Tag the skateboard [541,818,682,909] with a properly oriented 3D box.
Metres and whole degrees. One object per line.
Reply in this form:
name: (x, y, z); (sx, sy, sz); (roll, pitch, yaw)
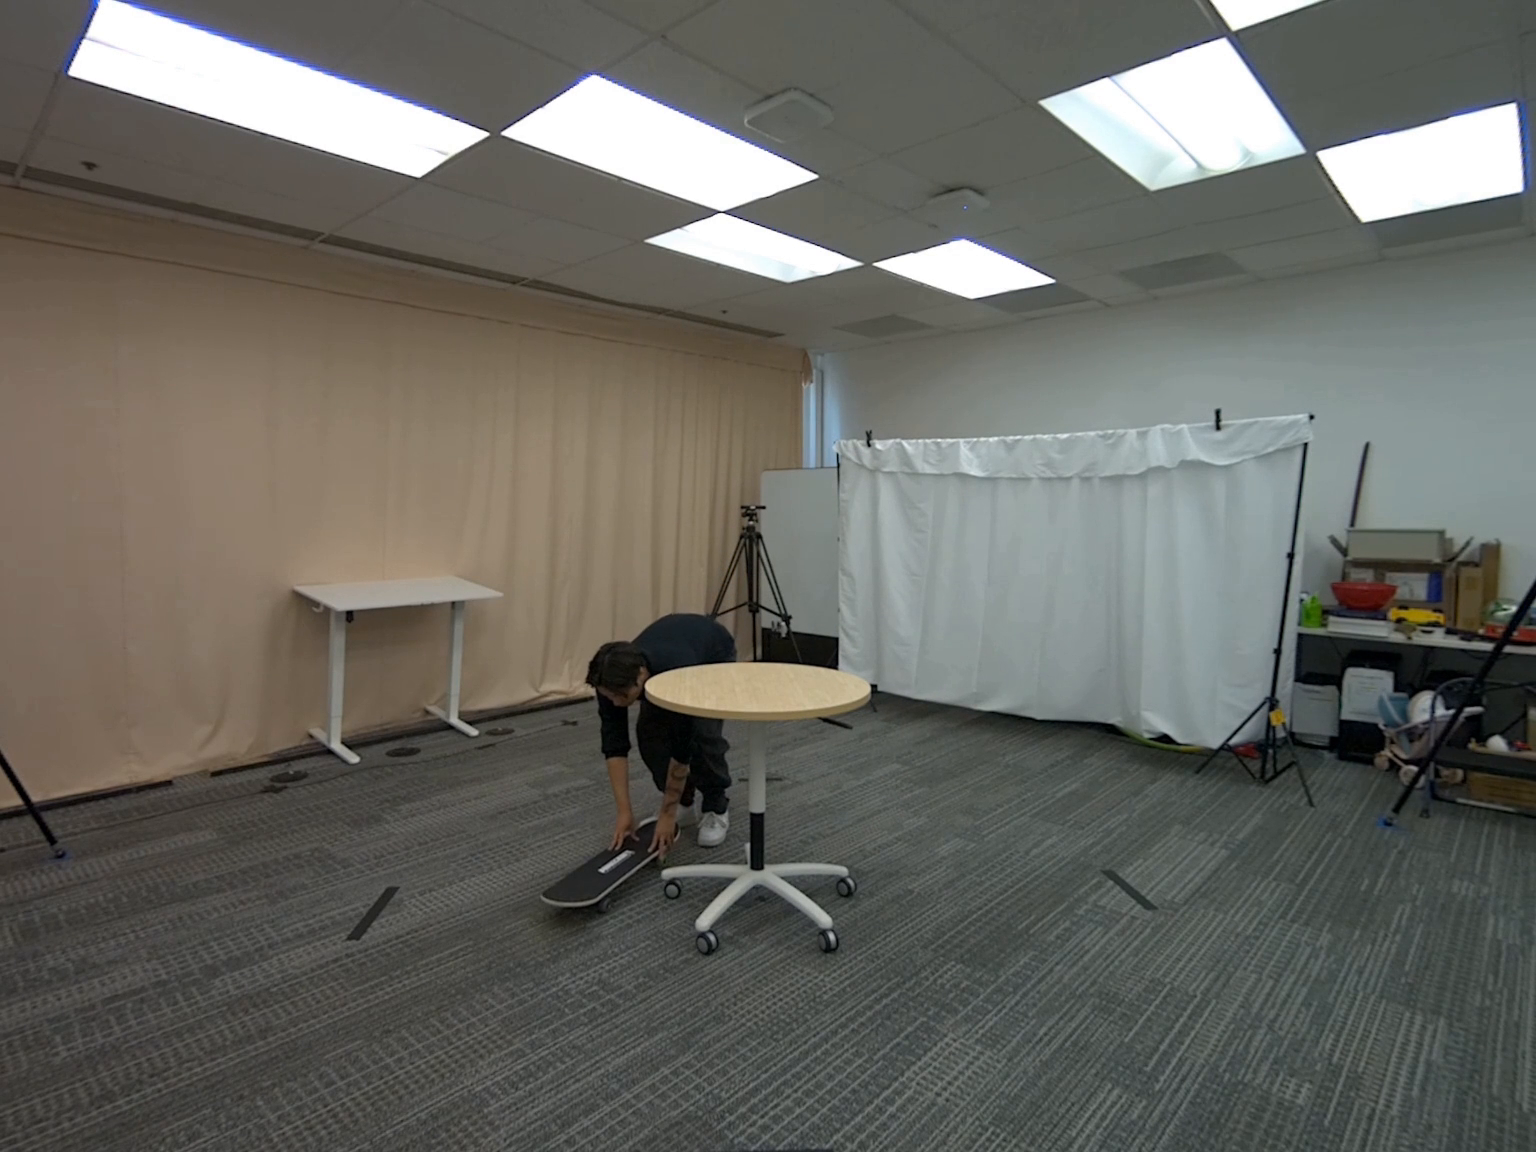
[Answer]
skateboard: (-0.563, 1.079, 3.103); (0.198, 0.110, 0.768); (1, 5, 23)
